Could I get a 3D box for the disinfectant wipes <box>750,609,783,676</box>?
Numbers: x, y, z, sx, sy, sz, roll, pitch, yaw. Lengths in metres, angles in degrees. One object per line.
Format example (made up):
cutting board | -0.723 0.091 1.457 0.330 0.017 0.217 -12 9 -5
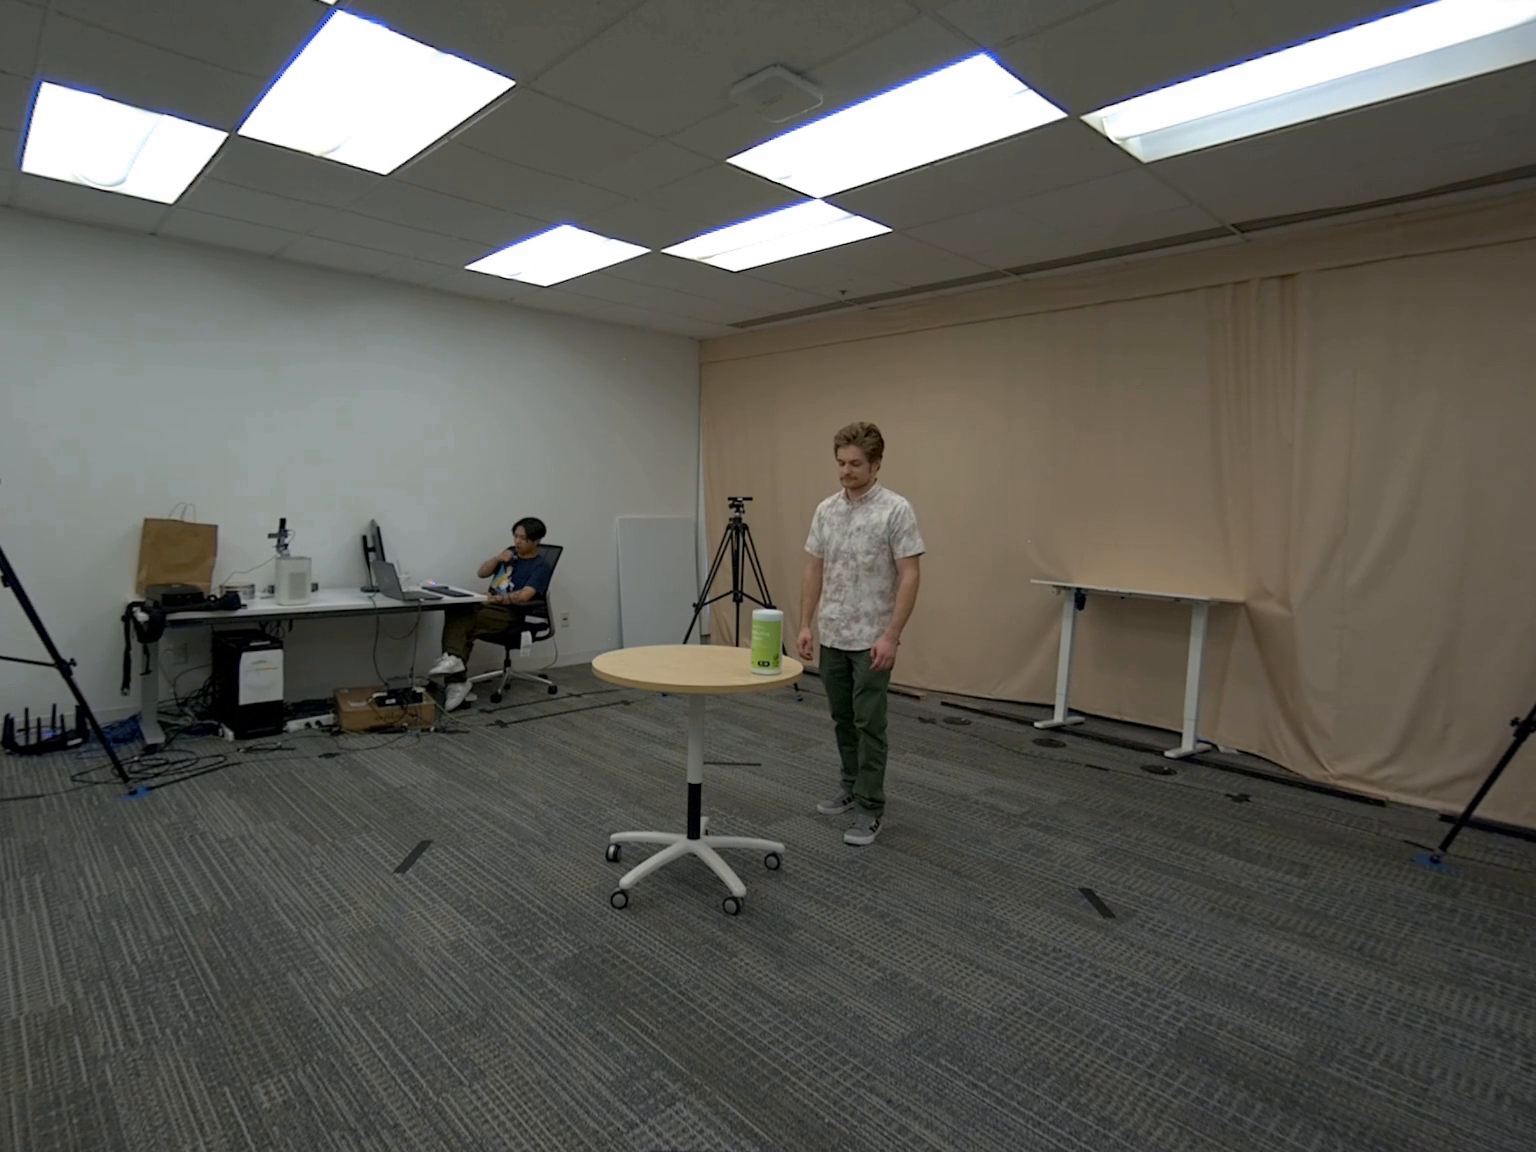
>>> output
disinfectant wipes | -0.011 0.232 2.925 0.118 0.217 0.118 2 5 -2
